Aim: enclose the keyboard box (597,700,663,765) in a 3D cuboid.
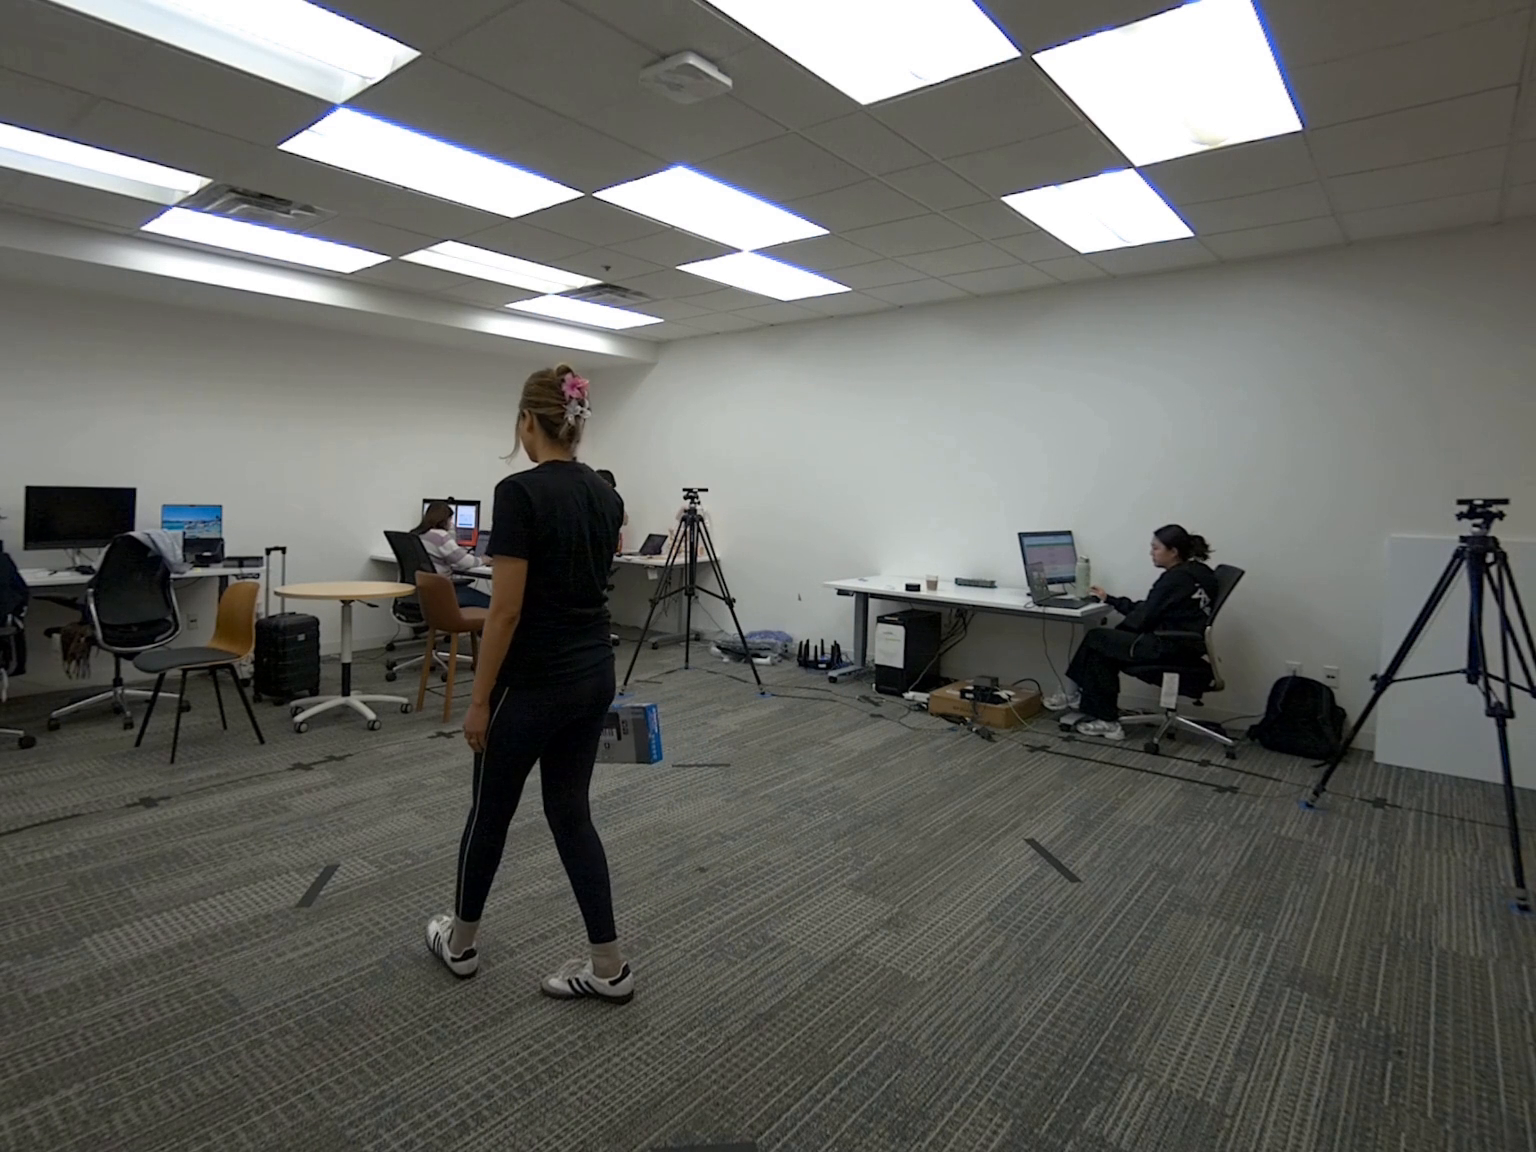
[{"bbox_3d":[-0.540,0.490,2.651,0.448,0.176,0.057,-6,-2,31],"label":"keyboard box"}]
